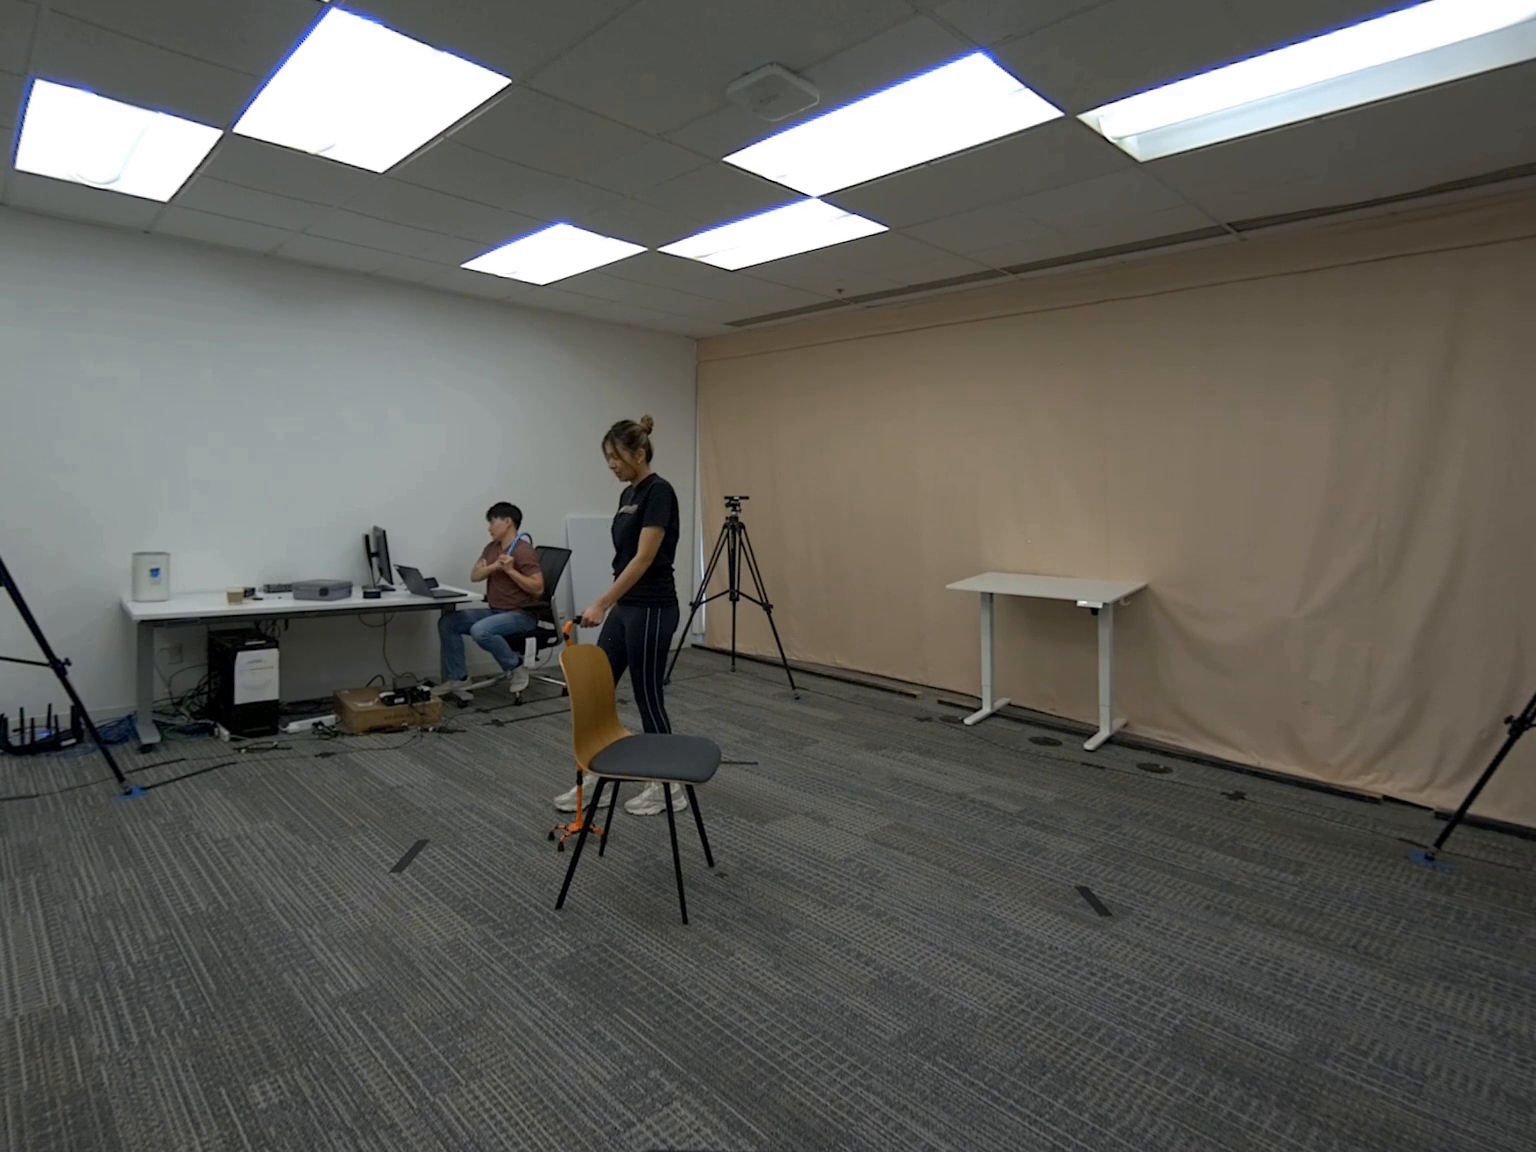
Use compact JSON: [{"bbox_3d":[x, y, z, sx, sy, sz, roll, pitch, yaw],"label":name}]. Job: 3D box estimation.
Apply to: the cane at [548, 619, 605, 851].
[{"bbox_3d":[-0.767,0.619,3.349,0.202,0.904,0.155,-3,6,-32],"label":"cane"}]
